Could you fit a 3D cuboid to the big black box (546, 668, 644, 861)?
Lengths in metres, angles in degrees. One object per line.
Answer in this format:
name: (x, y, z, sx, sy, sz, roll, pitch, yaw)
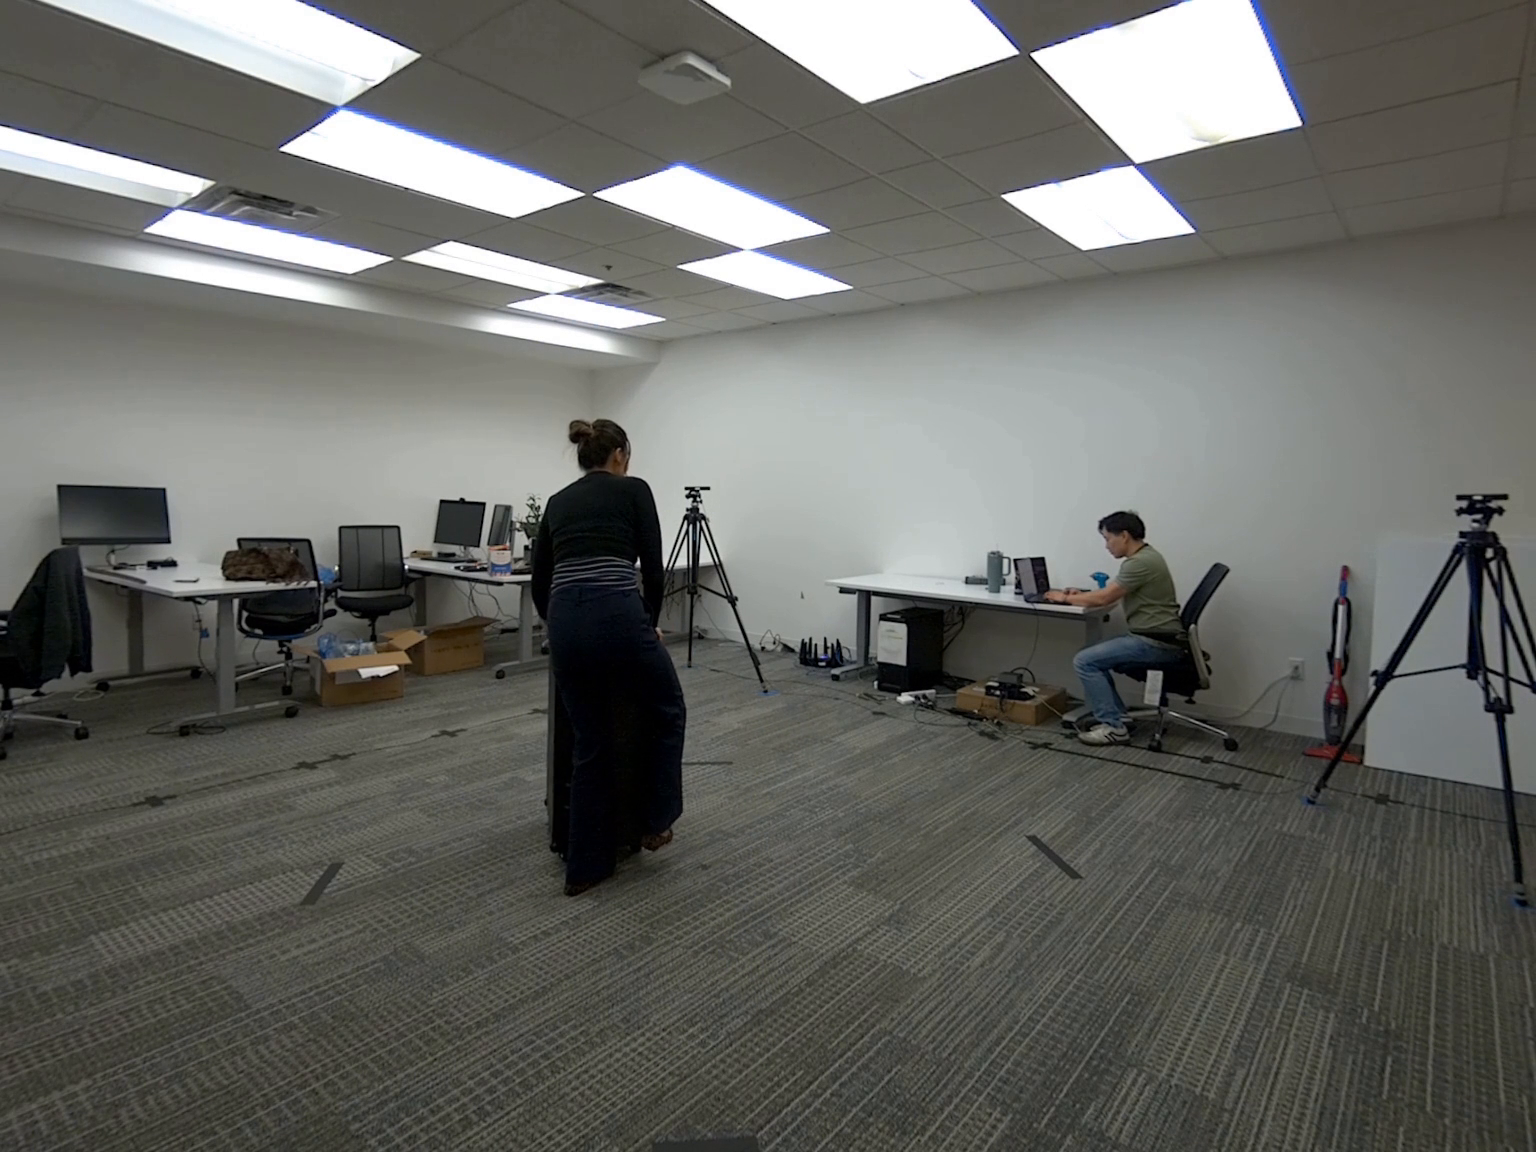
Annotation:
big black box: (-0.673, 0.616, 3.325, 0.390, 0.859, 0.531, 2, 3, -15)
